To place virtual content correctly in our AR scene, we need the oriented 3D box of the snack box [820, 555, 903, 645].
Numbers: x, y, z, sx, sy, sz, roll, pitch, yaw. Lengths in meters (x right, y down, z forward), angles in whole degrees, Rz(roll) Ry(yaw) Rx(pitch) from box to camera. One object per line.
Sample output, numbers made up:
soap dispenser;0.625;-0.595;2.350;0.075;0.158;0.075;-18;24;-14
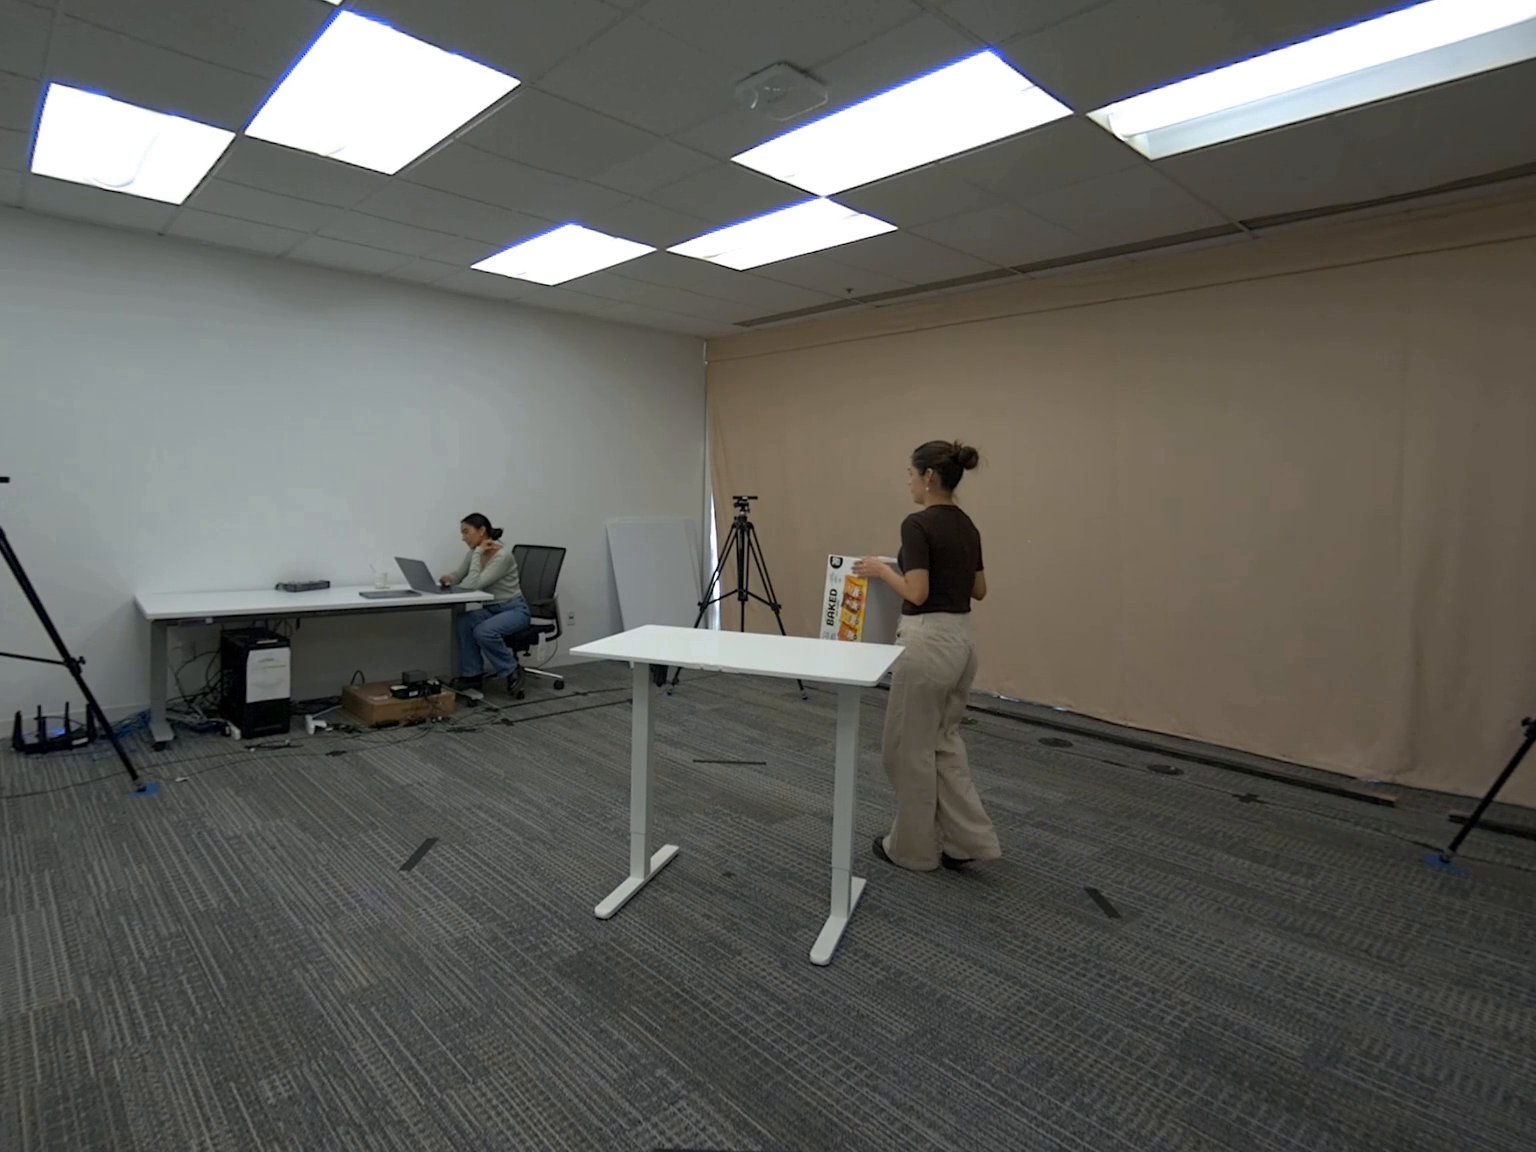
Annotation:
snack box;0.410;0.133;3.409;0.211;0.404;0.332;10;6;44
